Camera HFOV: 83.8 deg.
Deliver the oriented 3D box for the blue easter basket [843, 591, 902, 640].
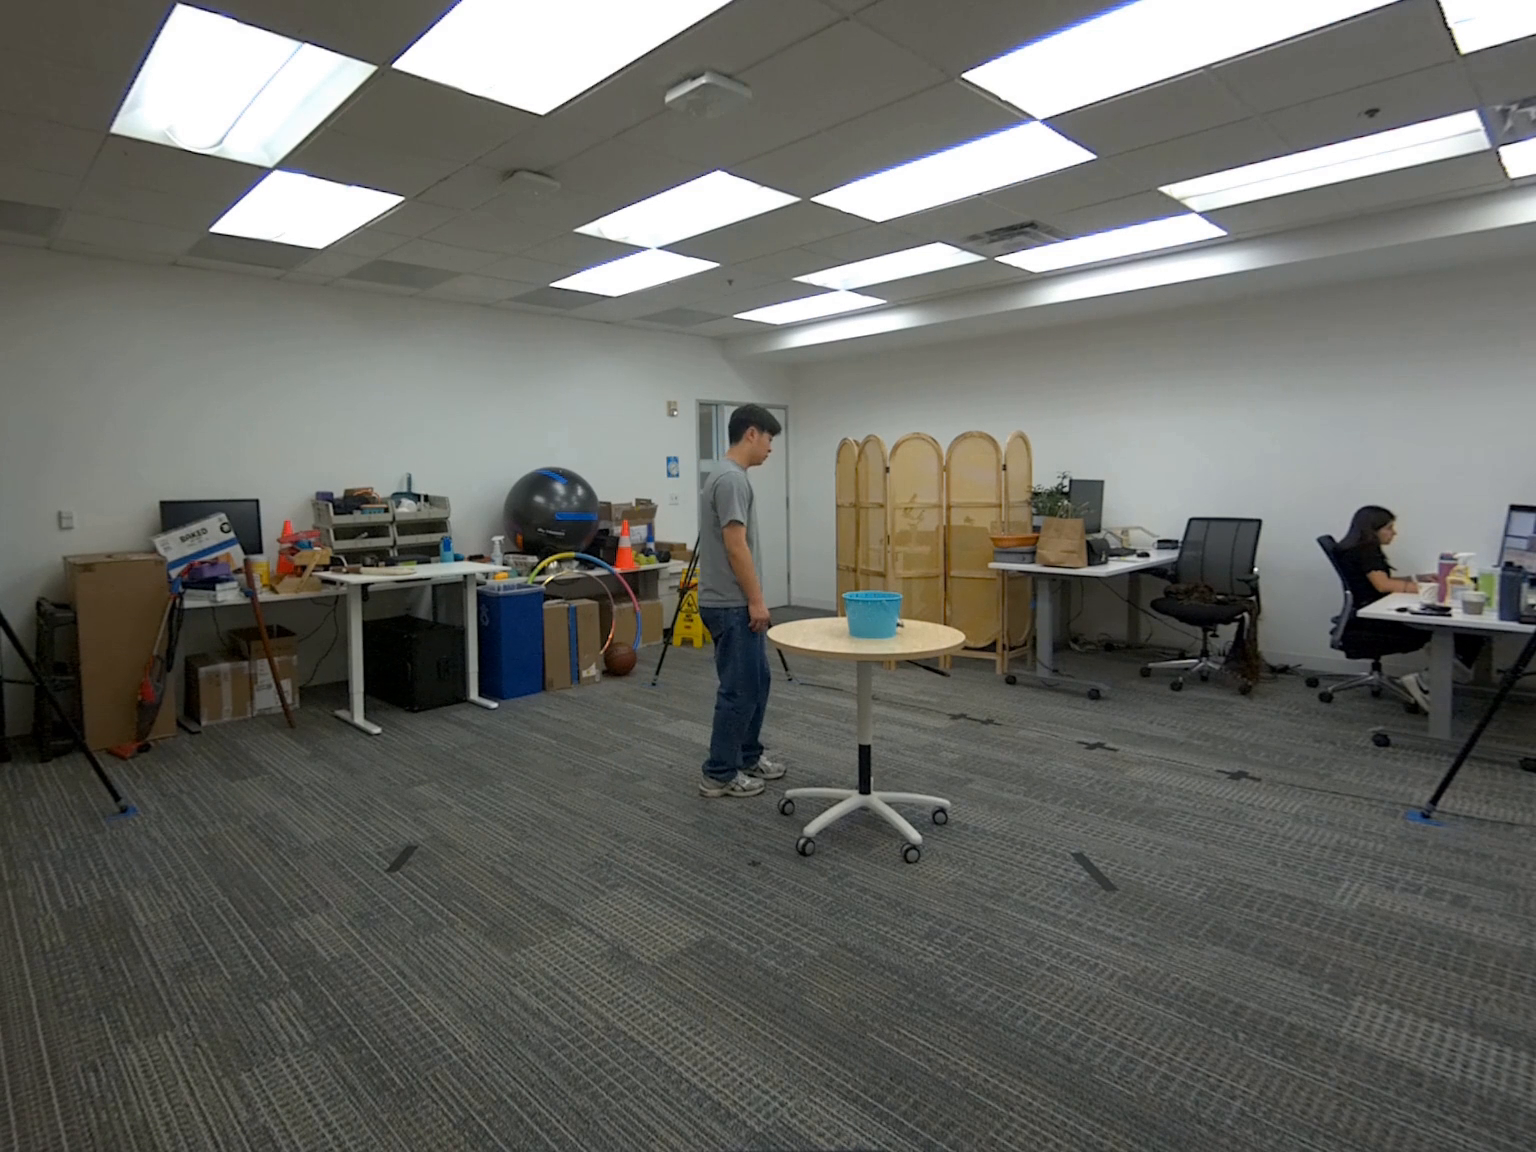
[{"bbox_3d":[0.421,0.155,3.338,0.243,0.155,0.245,0,5,-2],"label":"blue easter basket"}]
